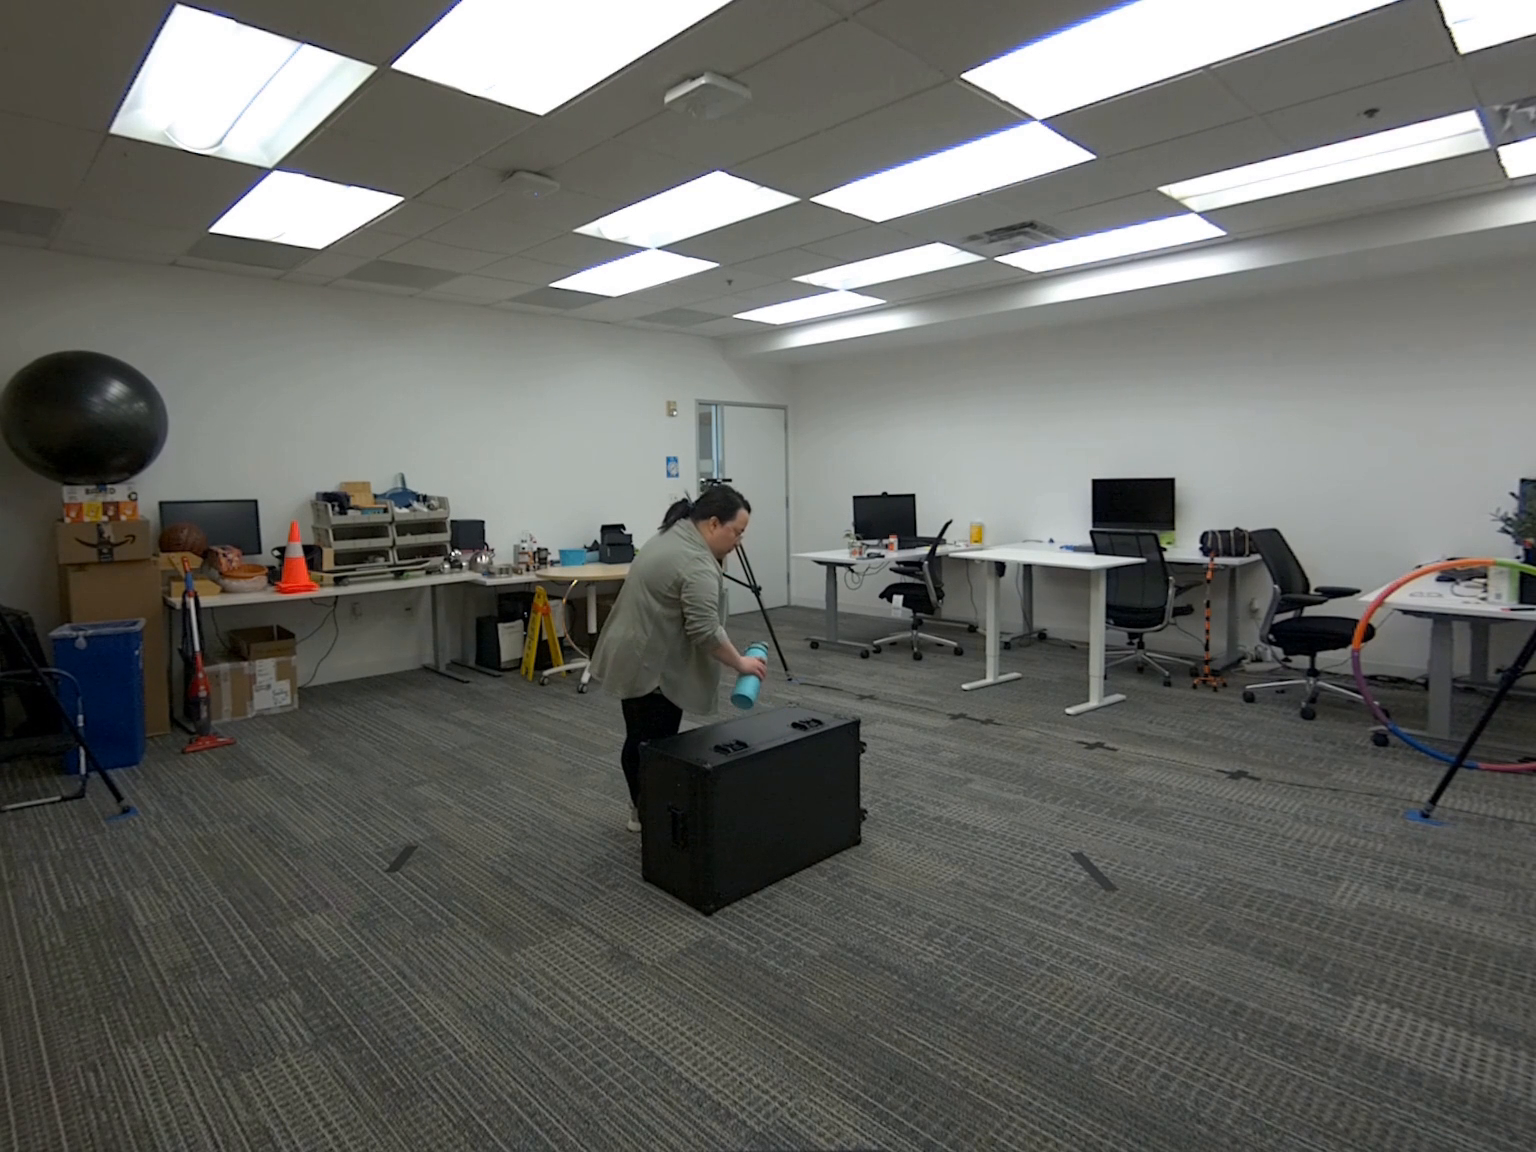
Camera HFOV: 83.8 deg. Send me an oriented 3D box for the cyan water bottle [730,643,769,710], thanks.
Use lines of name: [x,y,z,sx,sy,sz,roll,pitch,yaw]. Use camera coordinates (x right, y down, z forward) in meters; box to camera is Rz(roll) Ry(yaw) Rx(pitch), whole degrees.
cyan water bottle: [-0.062,0.361,3.181,0.094,0.089,0.288,0,42,18]
